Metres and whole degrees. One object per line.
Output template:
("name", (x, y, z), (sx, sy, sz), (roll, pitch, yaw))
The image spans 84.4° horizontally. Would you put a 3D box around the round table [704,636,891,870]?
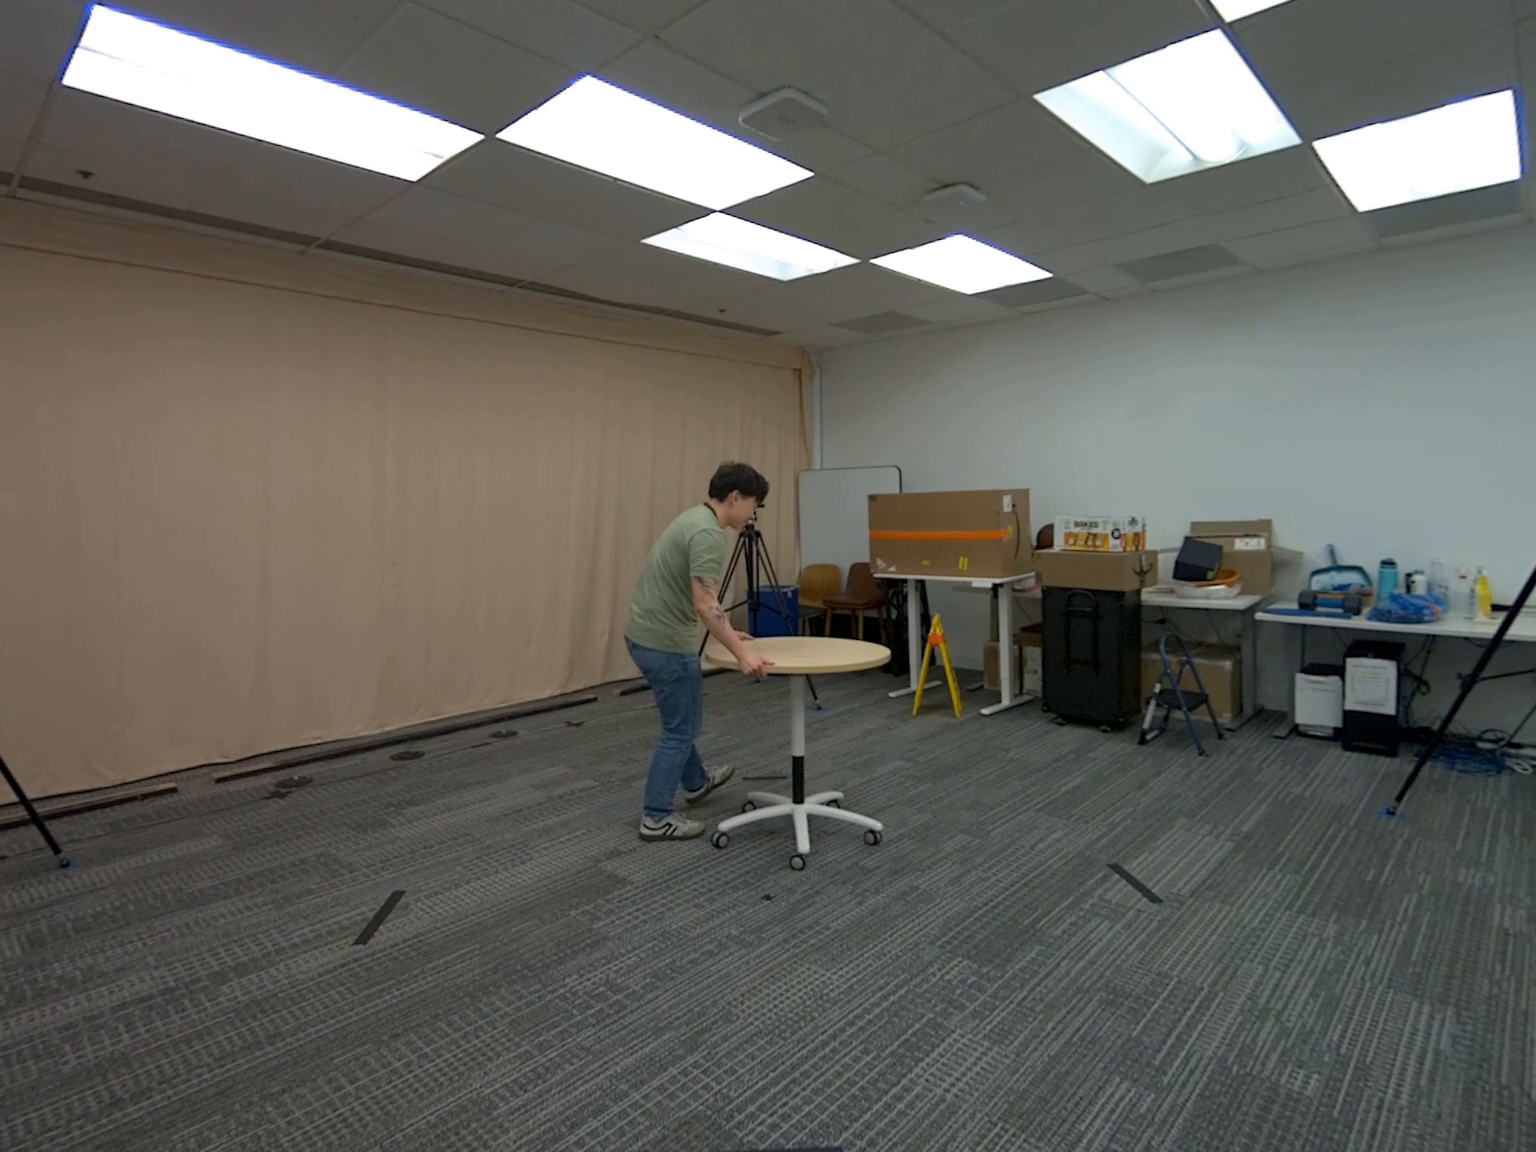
("round table", (0.125, 0.704, 3.514), (0.763, 0.792, 0.766), (-1, 3, -2))
